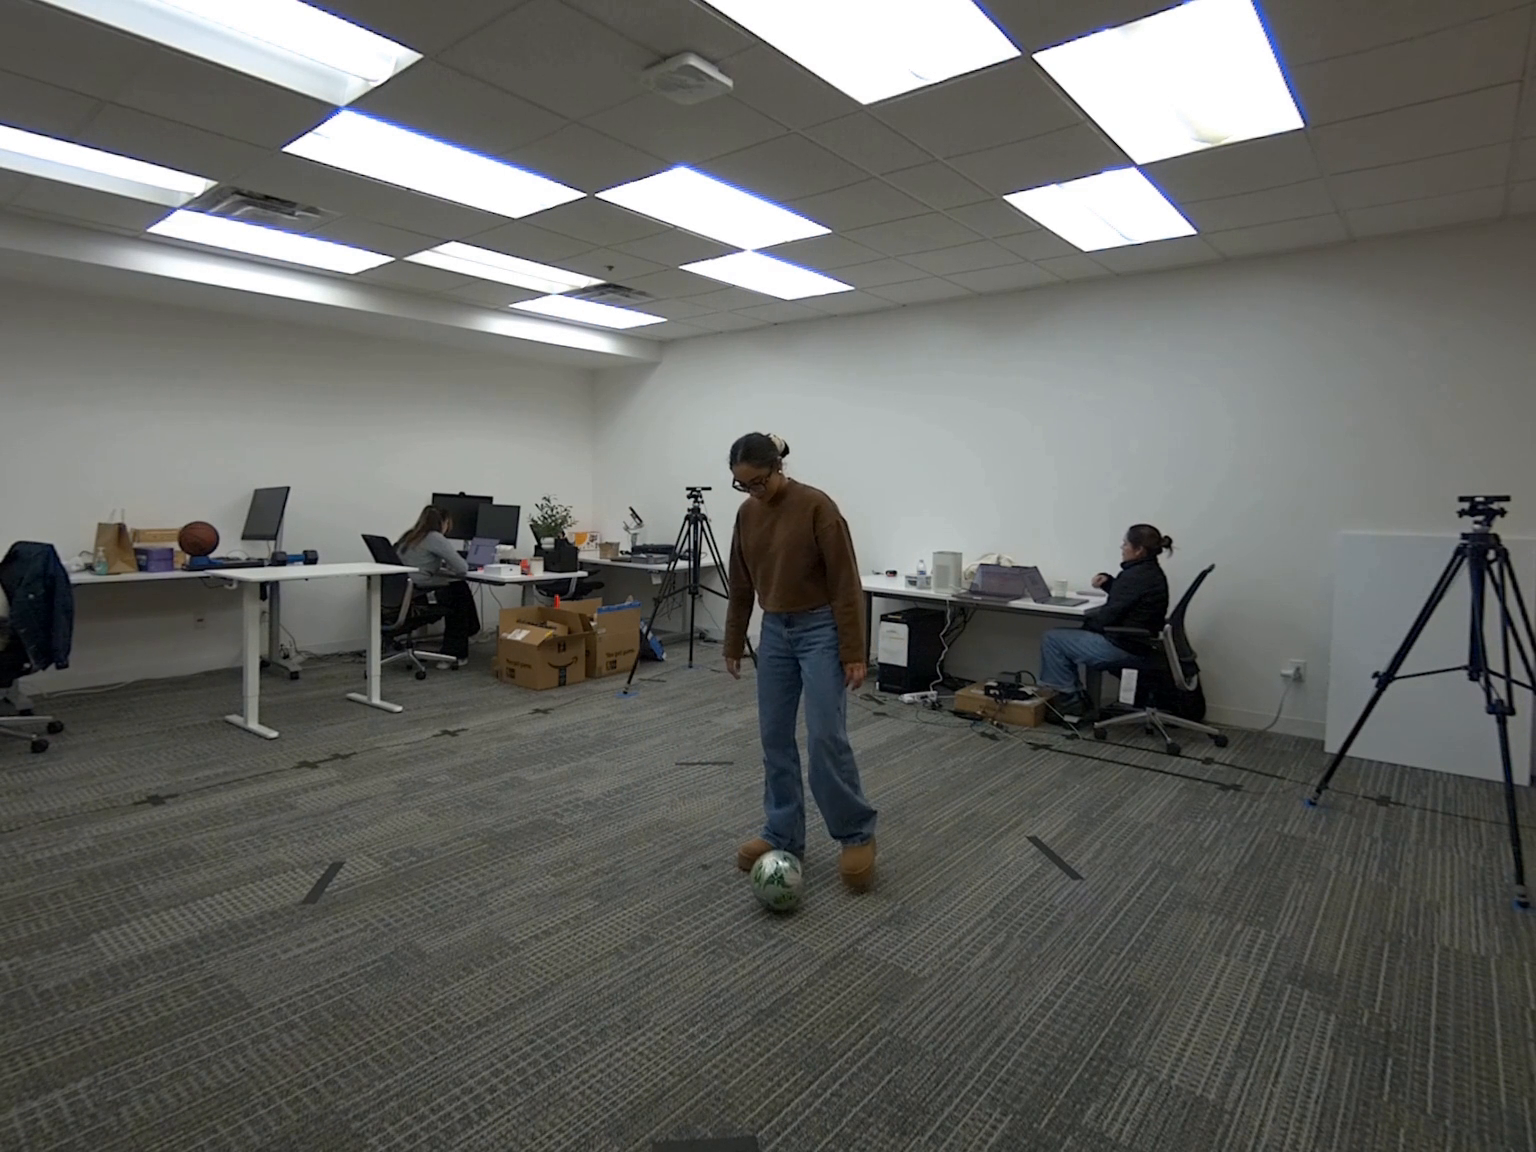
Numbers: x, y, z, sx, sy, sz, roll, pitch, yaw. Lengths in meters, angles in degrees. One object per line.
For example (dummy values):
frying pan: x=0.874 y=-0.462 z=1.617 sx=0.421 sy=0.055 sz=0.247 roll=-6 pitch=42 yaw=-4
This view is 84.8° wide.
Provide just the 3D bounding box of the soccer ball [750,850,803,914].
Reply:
soccer ball: x=0.022 y=1.002 z=2.814 sx=0.187 sy=0.187 sz=0.188 roll=1 pitch=4 yaw=-2
